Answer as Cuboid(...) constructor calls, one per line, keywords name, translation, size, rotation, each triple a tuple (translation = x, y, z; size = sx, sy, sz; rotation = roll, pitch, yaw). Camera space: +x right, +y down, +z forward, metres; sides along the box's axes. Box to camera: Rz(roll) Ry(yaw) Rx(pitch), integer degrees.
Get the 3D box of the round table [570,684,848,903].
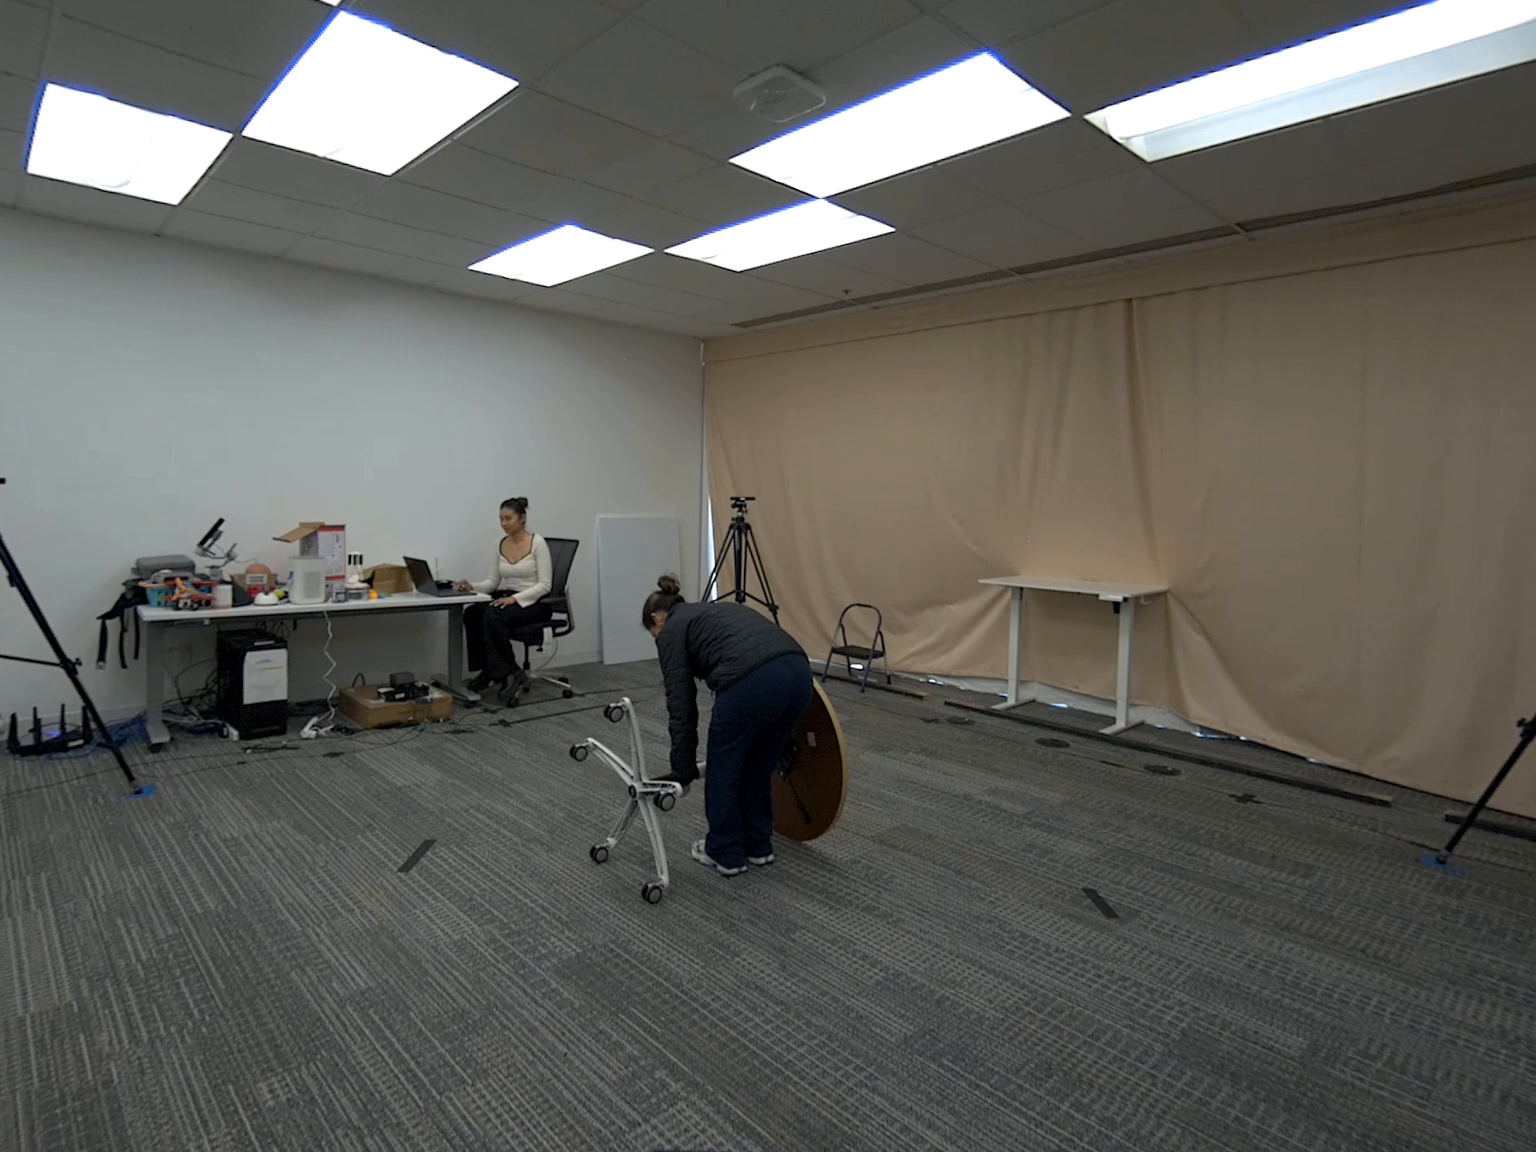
Cuboid(name="round table", translation=(-0.240, 0.755, 3.214), size=(0.771, 0.780, 0.805), rotation=(-9, 10, -38))
